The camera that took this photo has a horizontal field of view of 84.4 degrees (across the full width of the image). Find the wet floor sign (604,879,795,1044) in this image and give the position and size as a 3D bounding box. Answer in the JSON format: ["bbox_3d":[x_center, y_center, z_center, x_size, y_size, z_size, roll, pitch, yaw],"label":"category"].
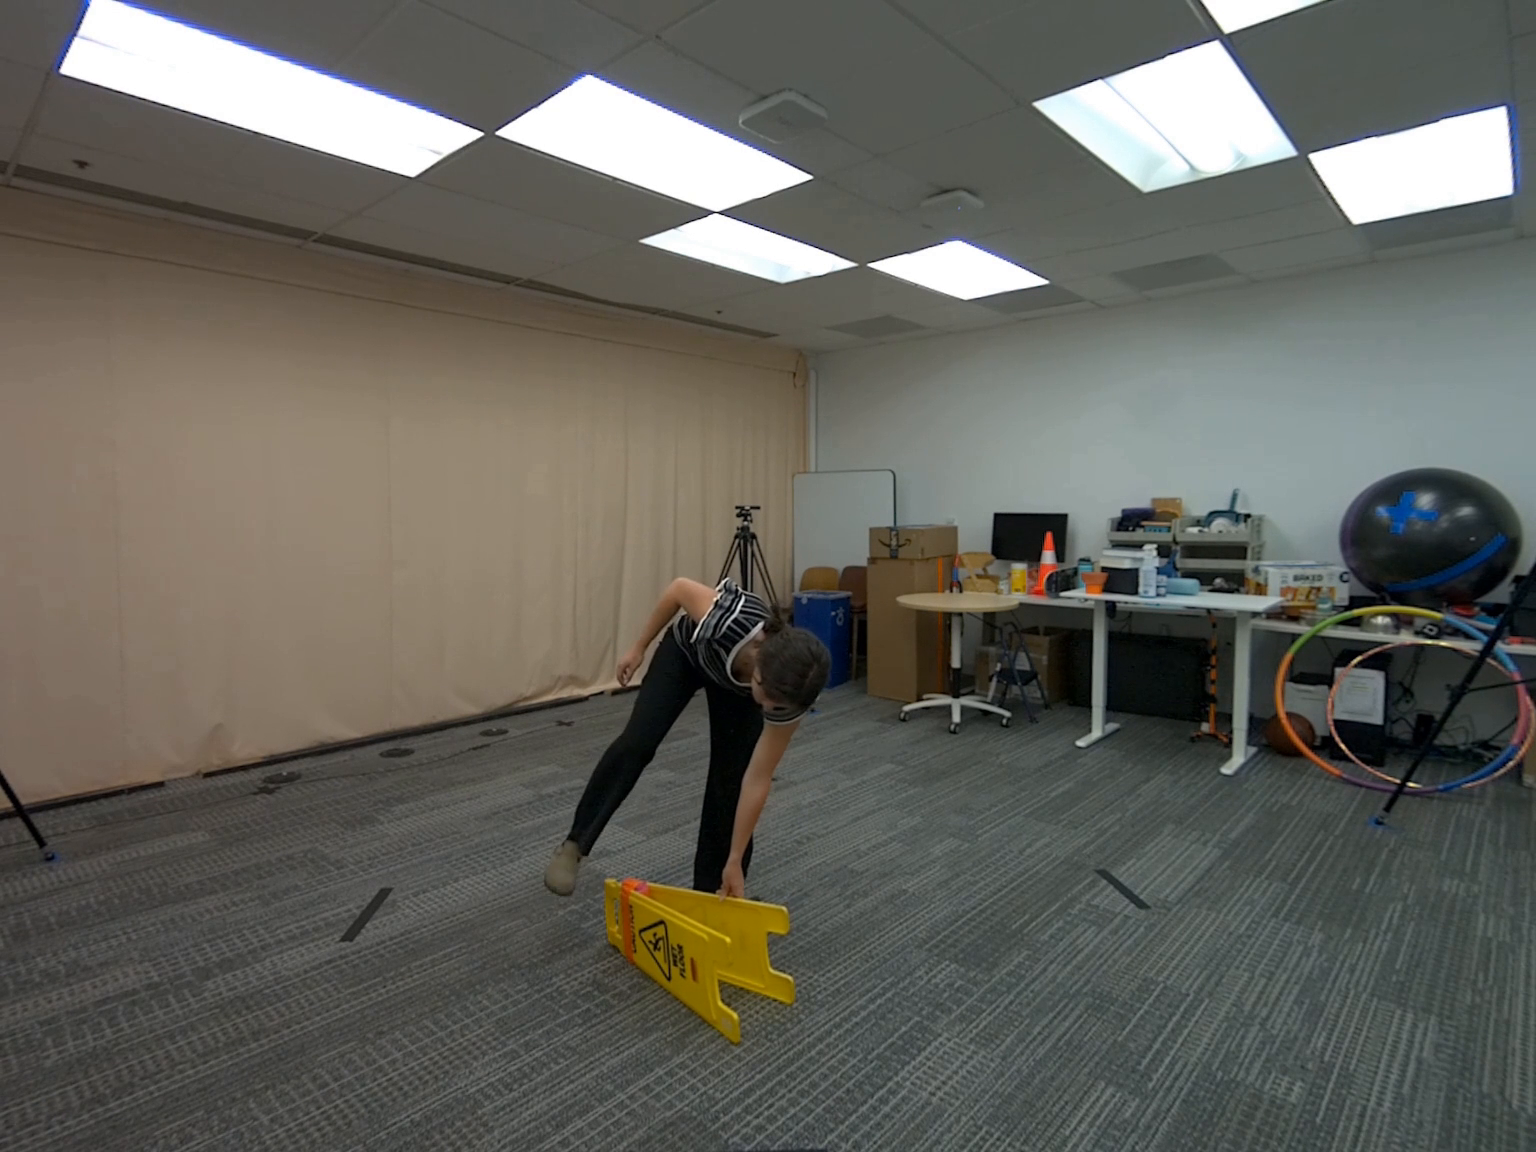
[{"bbox_3d":[-0.261,1.065,2.467,0.666,0.282,0.281,-1,4,40],"label":"wet floor sign"}]
